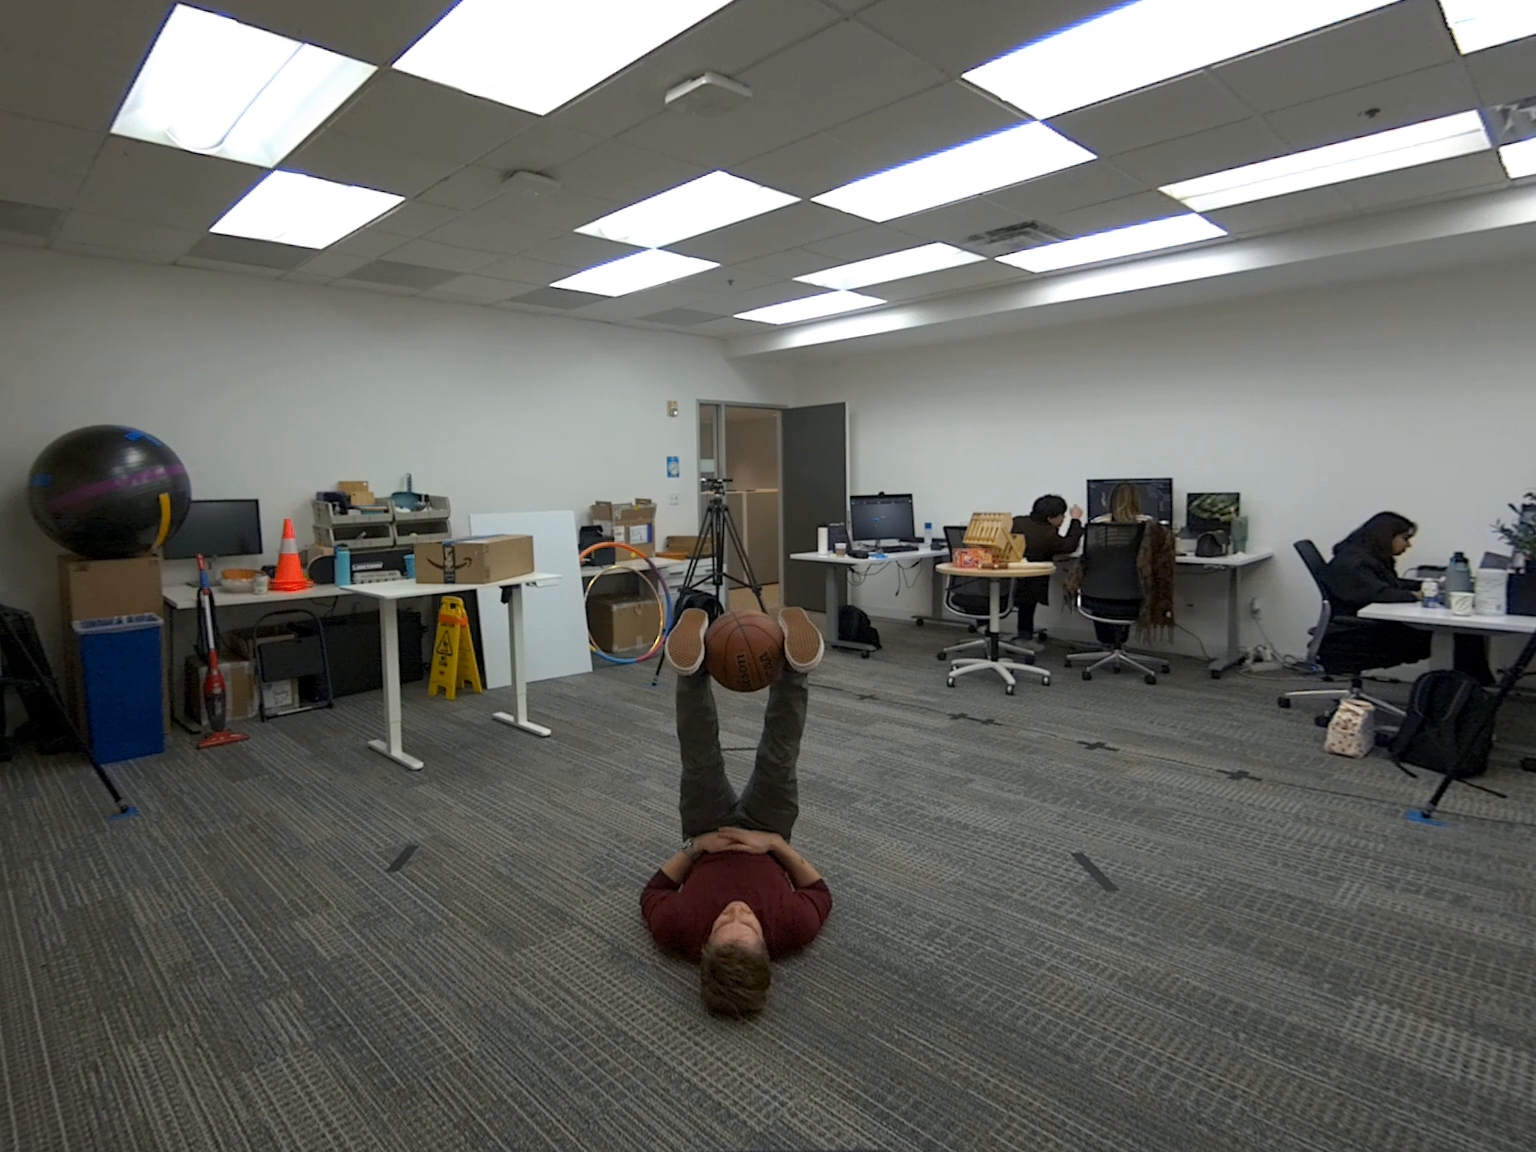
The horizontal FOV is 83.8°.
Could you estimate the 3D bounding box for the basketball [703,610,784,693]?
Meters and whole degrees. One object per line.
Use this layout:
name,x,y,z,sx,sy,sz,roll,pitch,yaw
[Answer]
basketball,-0.064,0.204,2.449,0.236,0.236,0.236,0,1,-2
